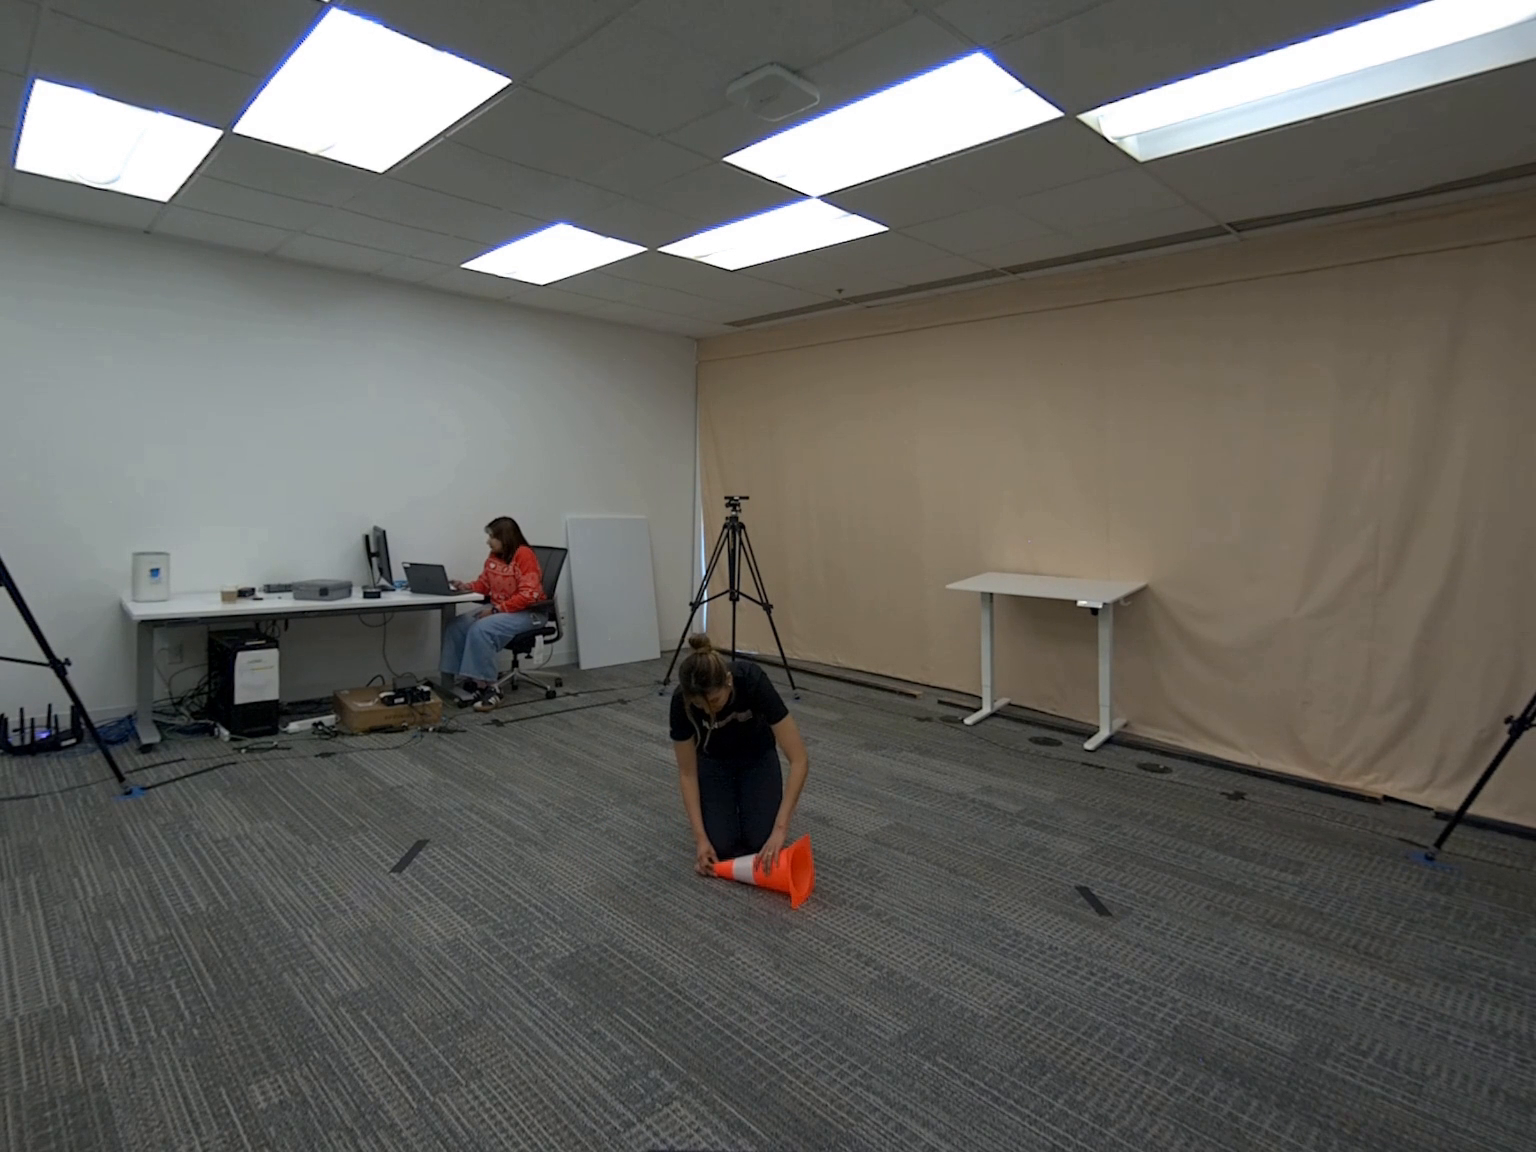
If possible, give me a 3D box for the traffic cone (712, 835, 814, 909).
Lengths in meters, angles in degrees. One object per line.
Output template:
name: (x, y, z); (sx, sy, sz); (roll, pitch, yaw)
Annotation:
traffic cone: (-0.062, 1.045, 3.022); (0.390, 0.206, 0.199); (-9, -4, 27)
